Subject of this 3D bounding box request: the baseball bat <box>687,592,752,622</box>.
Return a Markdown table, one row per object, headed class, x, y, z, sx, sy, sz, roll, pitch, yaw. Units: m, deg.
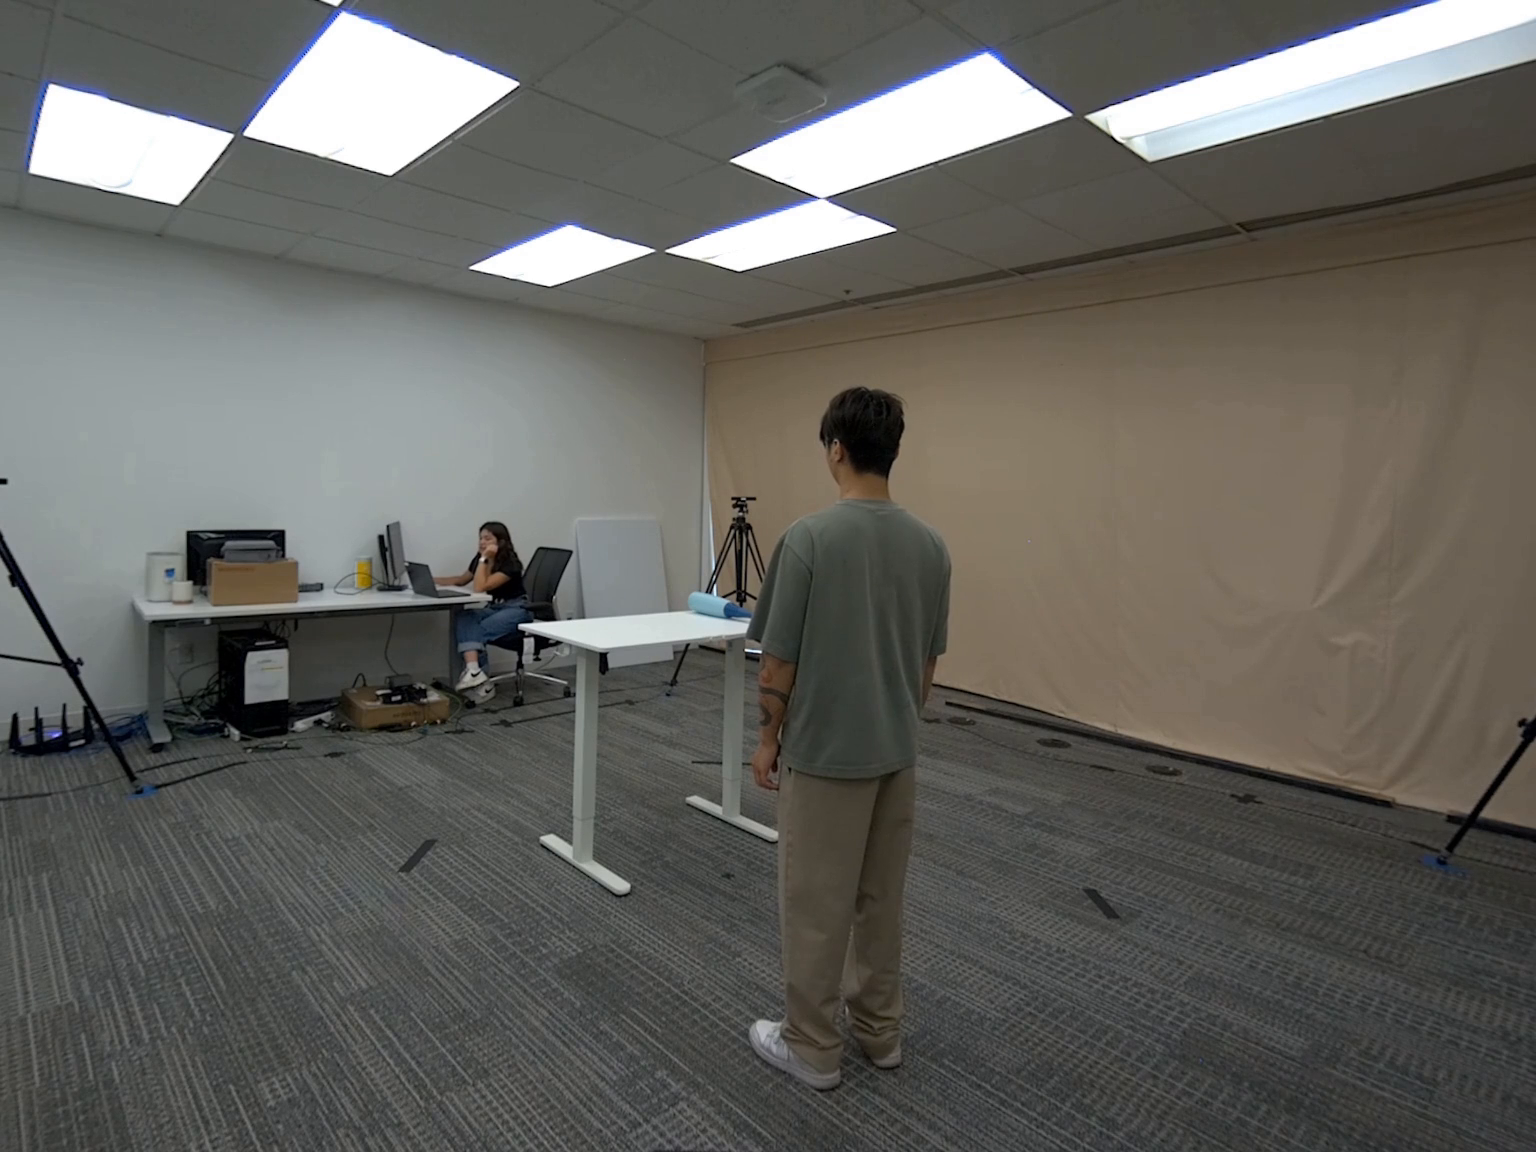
| class | x | y | z | sx | sy | sz | roll | pitch | yaw |
| --- | --- | --- | --- | --- | --- | --- | --- | --- | --- |
| baseball bat | -0.156 | 0.149 | 3.586 | 0.087 | 0.088 | 0.558 | -2 | 9 | -42 |
